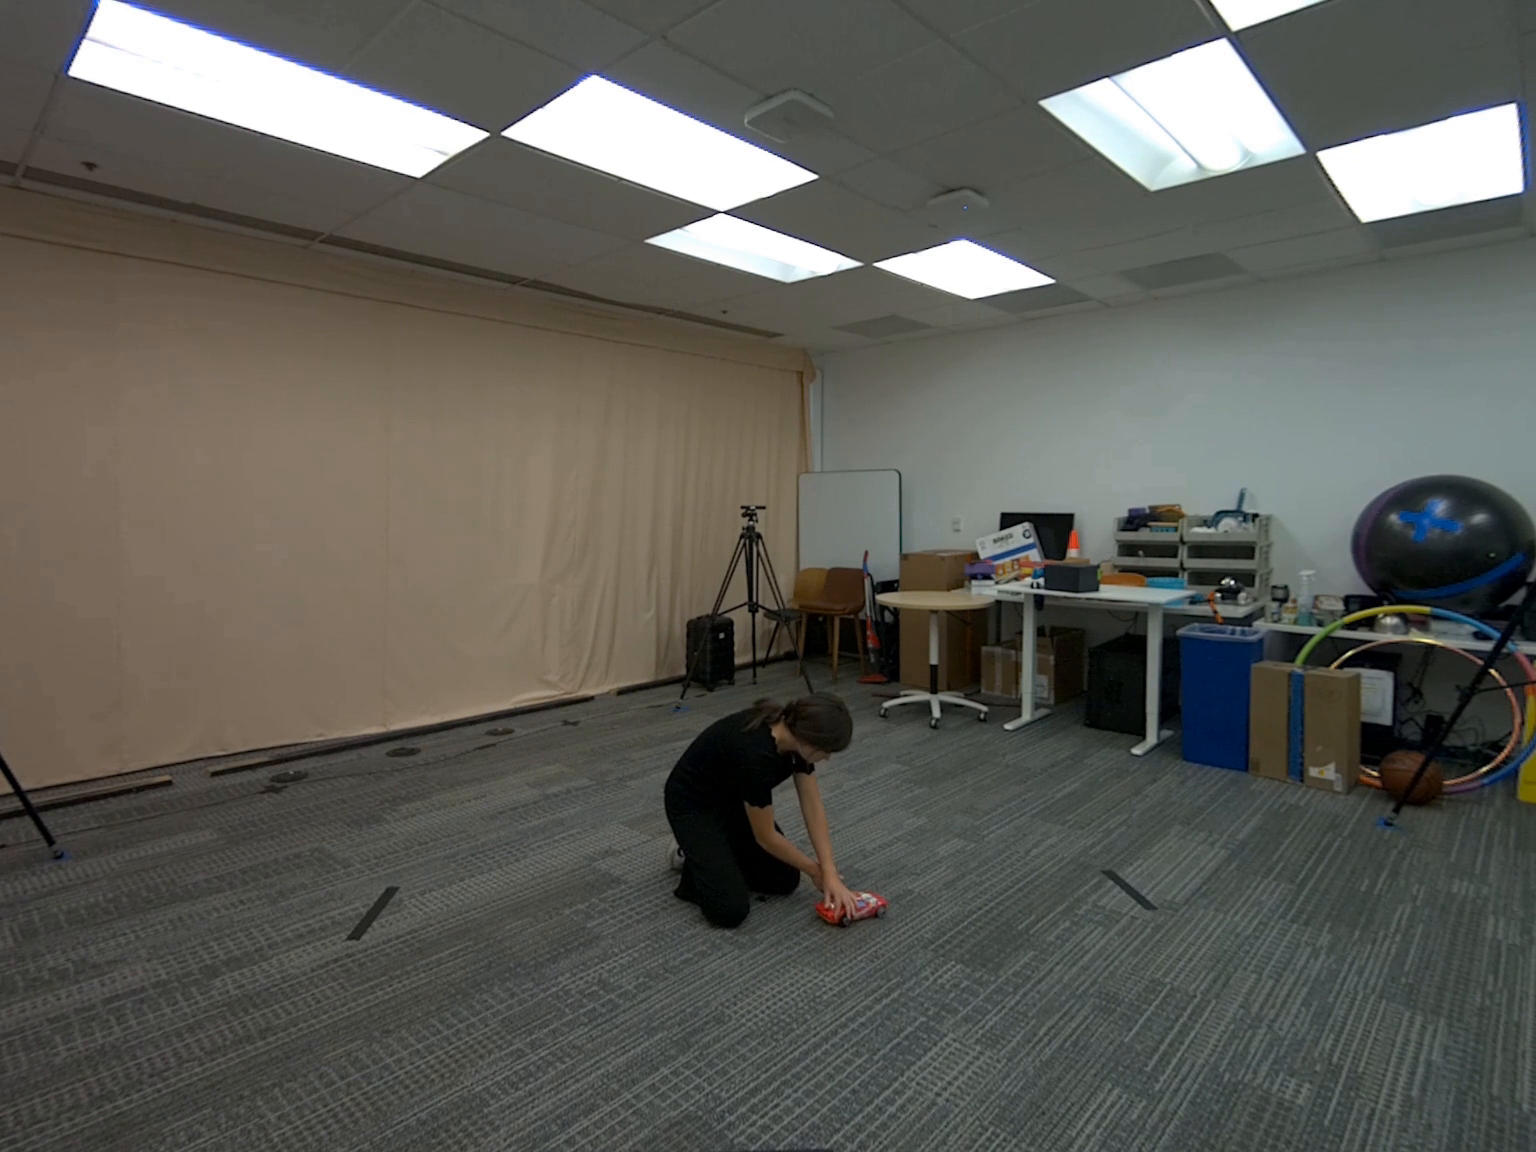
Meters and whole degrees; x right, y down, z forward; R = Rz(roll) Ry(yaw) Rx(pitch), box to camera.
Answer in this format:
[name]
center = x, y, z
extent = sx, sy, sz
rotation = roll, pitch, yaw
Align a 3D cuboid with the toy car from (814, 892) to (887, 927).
[toy car]
center = 0.283, 1.125, 2.837
extent = 0.248, 0.083, 0.134
rotation = 8, 1, -26
